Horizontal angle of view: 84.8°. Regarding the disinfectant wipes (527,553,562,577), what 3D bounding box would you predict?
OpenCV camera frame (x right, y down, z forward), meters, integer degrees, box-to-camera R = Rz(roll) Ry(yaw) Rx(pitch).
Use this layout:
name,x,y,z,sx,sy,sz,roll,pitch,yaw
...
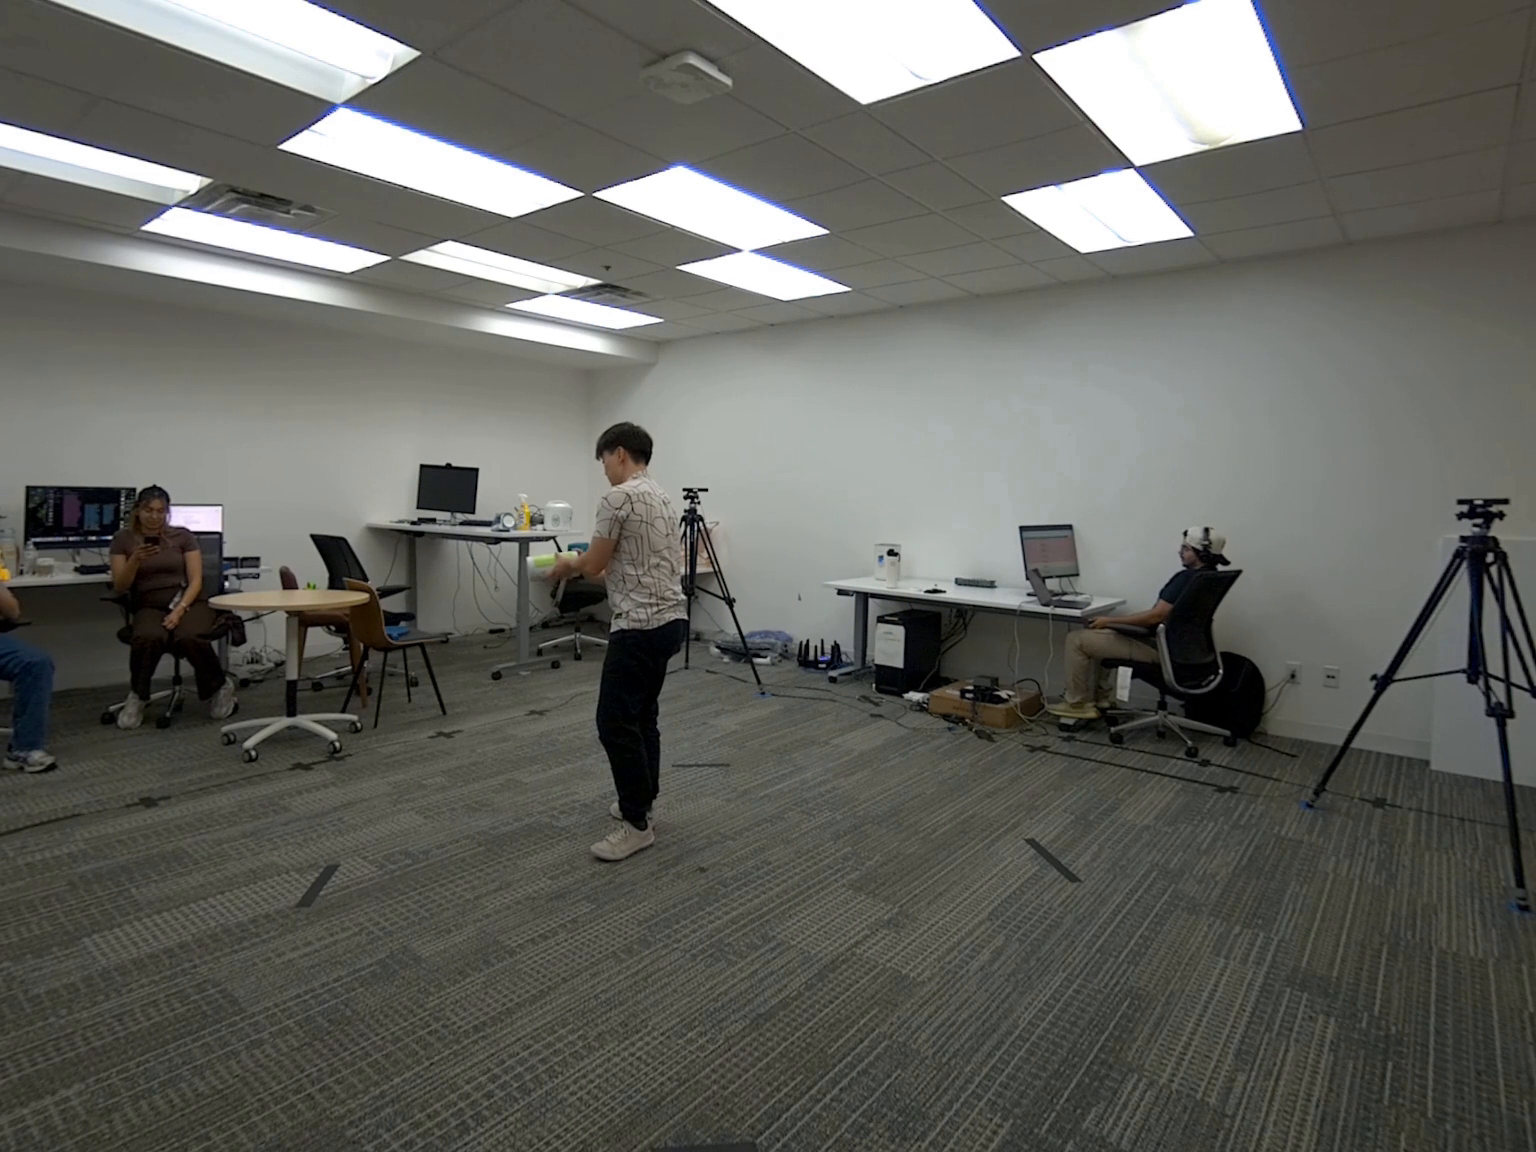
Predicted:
name,x,y,z,sx,sy,sz,roll,pitch,yaw
disinfectant wipes,-0.923,-0.047,3.617,0.215,0.117,0.120,-6,5,-13
